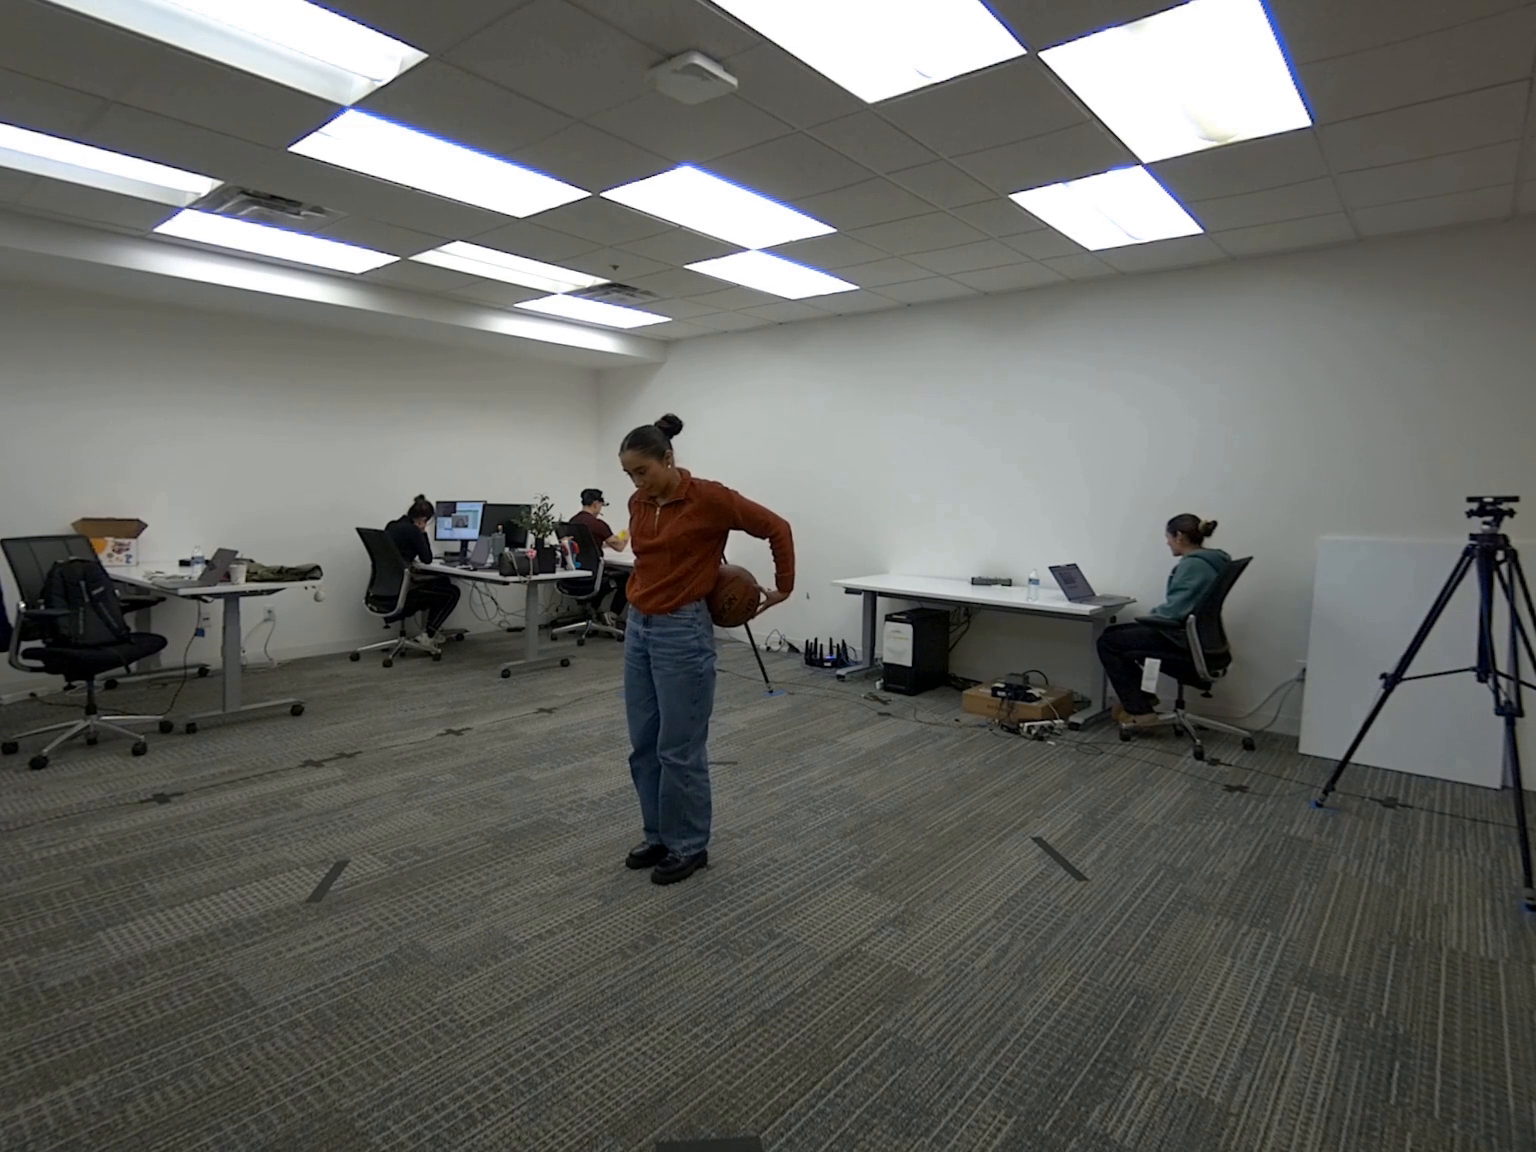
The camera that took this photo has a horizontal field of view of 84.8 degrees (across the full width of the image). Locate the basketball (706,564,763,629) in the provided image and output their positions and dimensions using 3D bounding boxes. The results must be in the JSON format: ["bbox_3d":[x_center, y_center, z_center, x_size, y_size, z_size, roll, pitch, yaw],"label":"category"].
[{"bbox_3d":[-0.161,0.069,3.150,0.235,0.235,0.237,1,4,-2],"label":"basketball"}]
